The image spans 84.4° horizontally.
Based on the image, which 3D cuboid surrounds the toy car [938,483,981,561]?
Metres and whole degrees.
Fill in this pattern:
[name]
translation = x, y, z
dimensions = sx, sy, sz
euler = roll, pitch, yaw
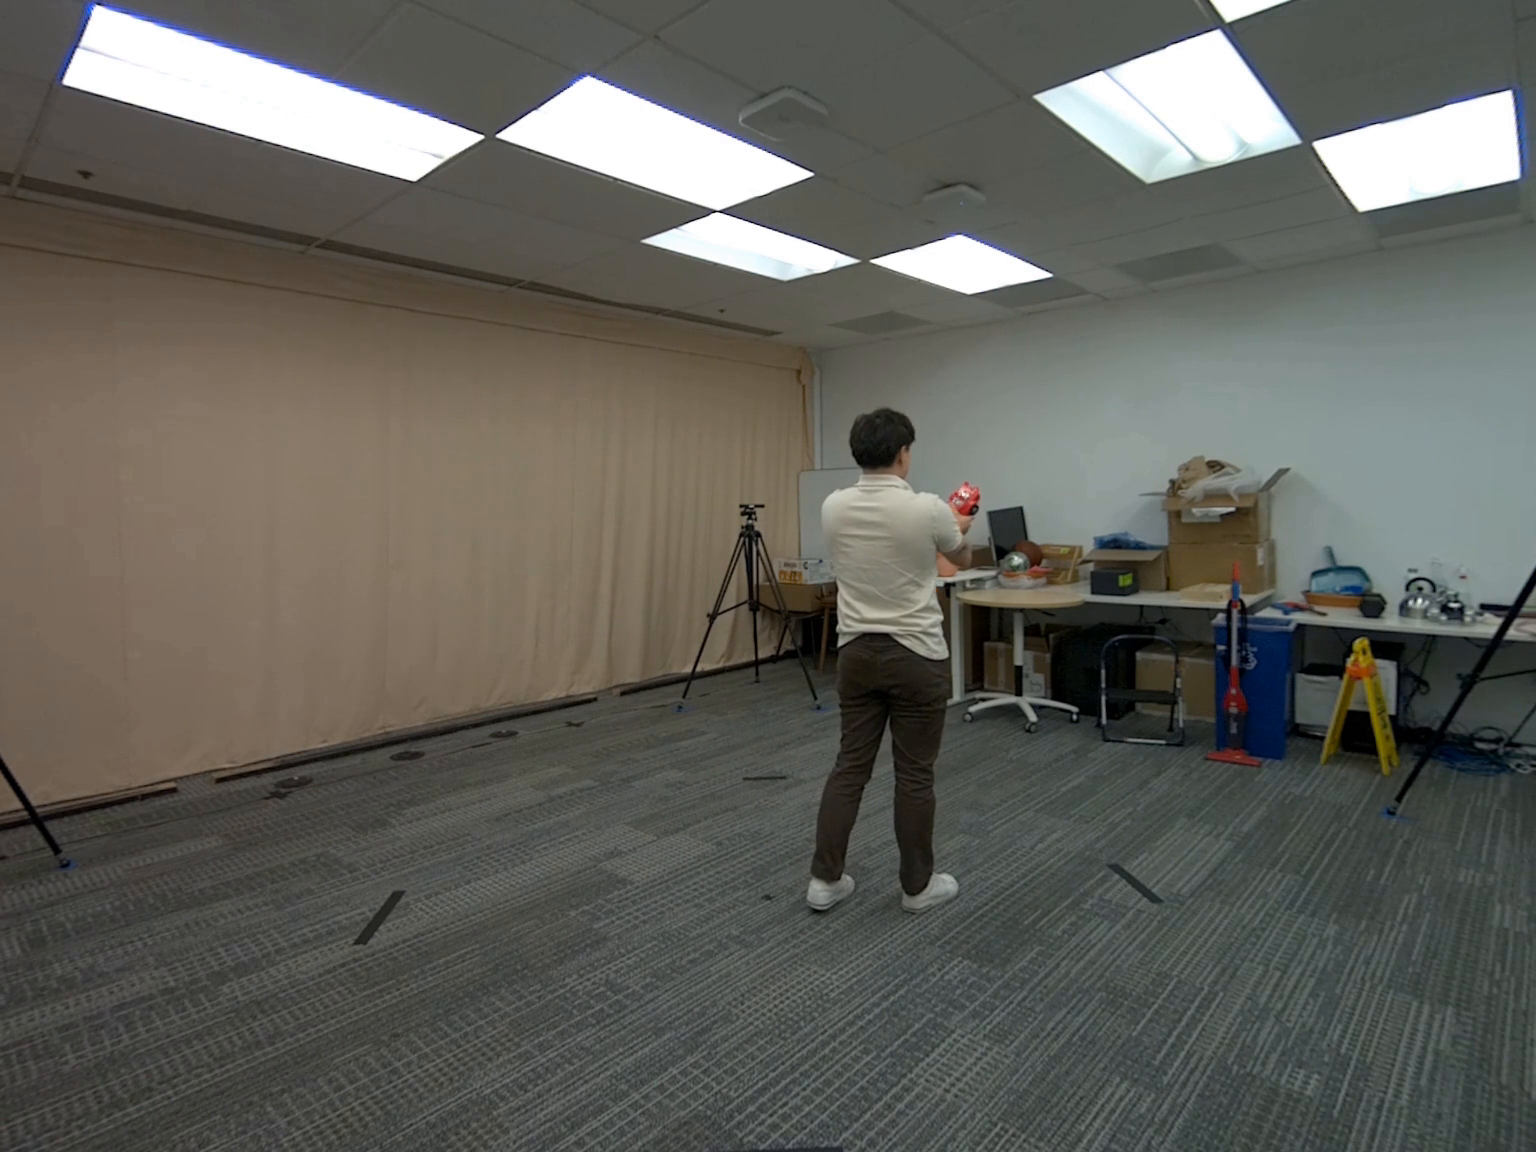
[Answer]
[toy car]
translation = 0.719, -0.237, 3.210
dimensions = 0.080, 0.254, 0.135
euler = 13, 19, -39
